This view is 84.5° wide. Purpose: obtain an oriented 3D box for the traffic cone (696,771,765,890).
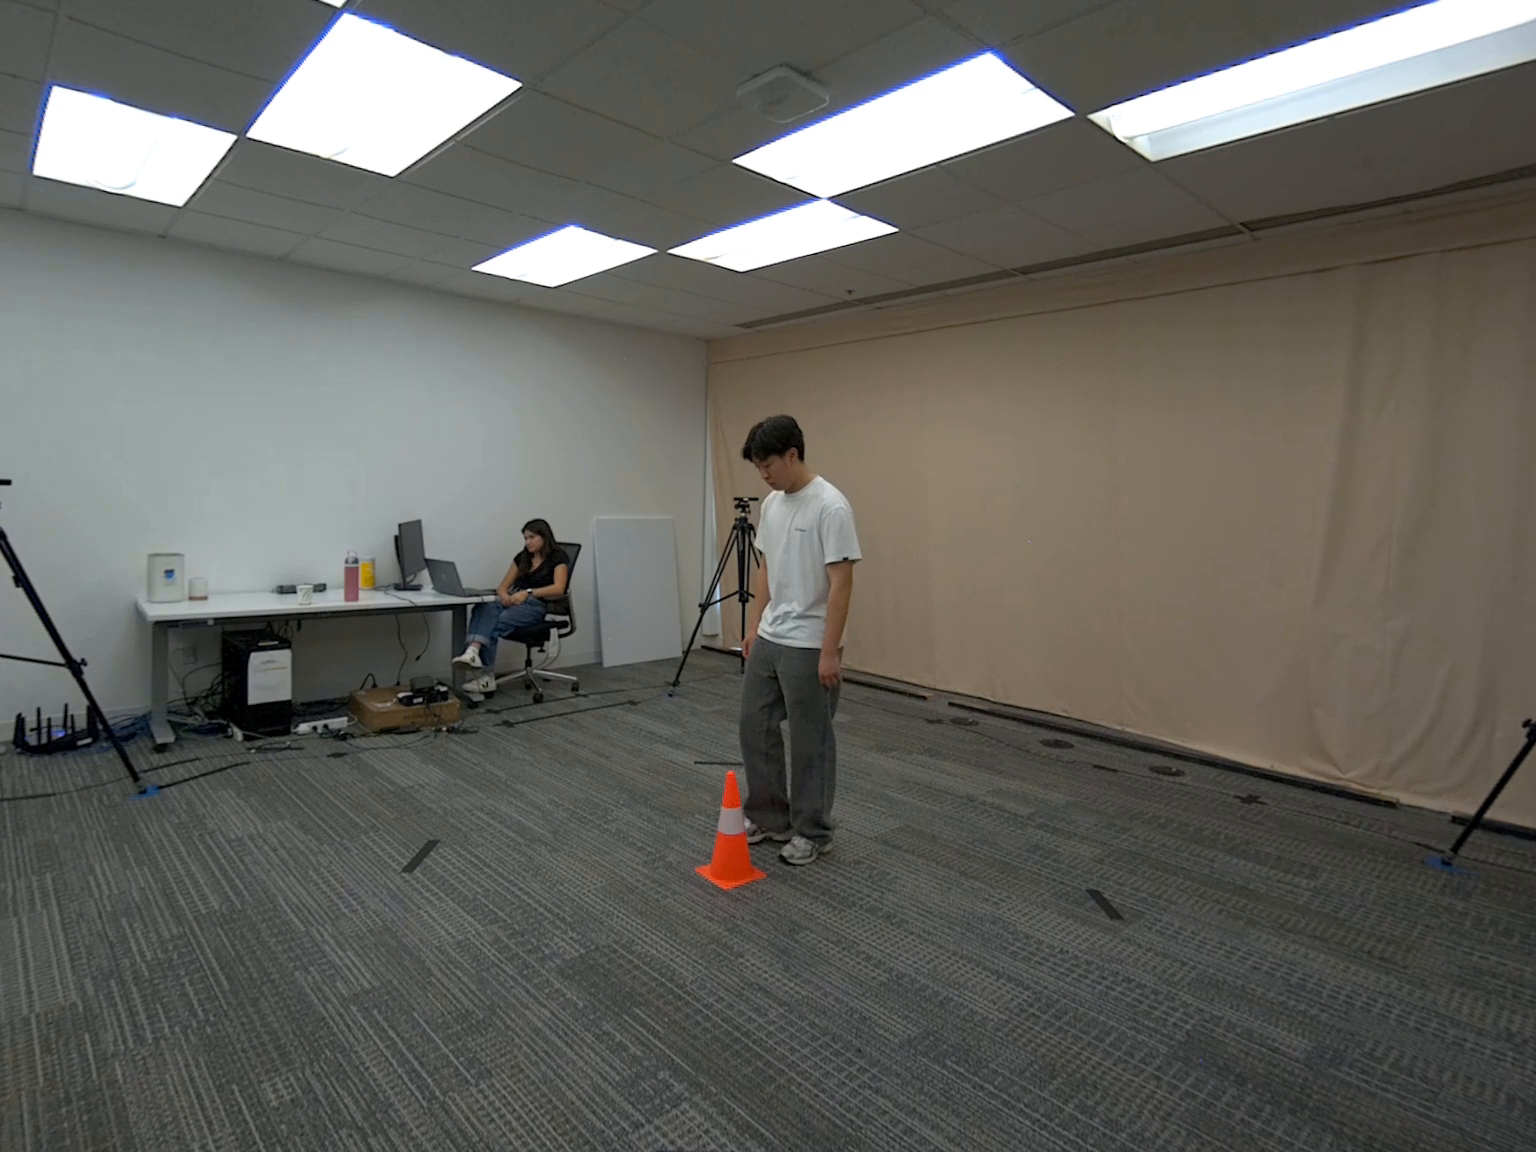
[{"bbox_3d":[-0.152,0.924,3.119,0.201,0.383,0.208,-3,4,-32],"label":"traffic cone"}]
